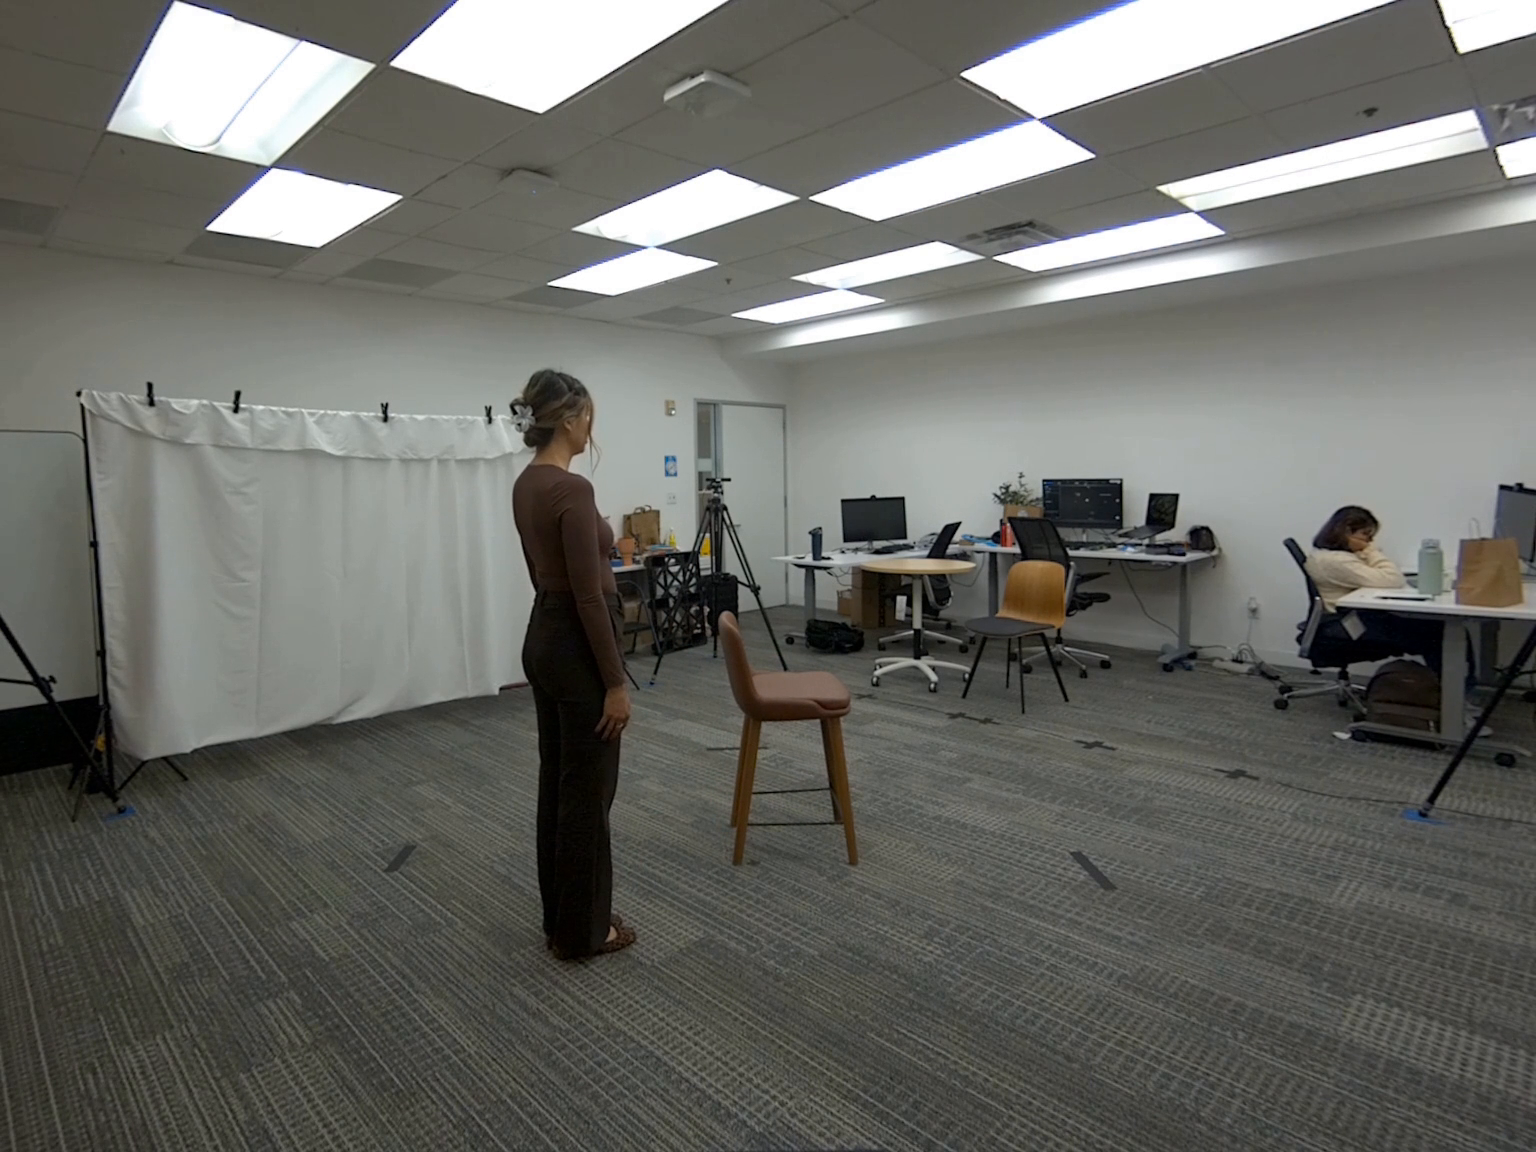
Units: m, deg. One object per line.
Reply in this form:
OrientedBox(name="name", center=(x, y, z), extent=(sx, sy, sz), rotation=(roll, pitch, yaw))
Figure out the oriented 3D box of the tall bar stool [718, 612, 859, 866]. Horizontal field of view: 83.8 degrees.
OrientedBox(name="tall bar stool", center=(0.076, 0.590, 3.249), extent=(0.467, 0.887, 0.459), rotation=(-3, 4, -3))
